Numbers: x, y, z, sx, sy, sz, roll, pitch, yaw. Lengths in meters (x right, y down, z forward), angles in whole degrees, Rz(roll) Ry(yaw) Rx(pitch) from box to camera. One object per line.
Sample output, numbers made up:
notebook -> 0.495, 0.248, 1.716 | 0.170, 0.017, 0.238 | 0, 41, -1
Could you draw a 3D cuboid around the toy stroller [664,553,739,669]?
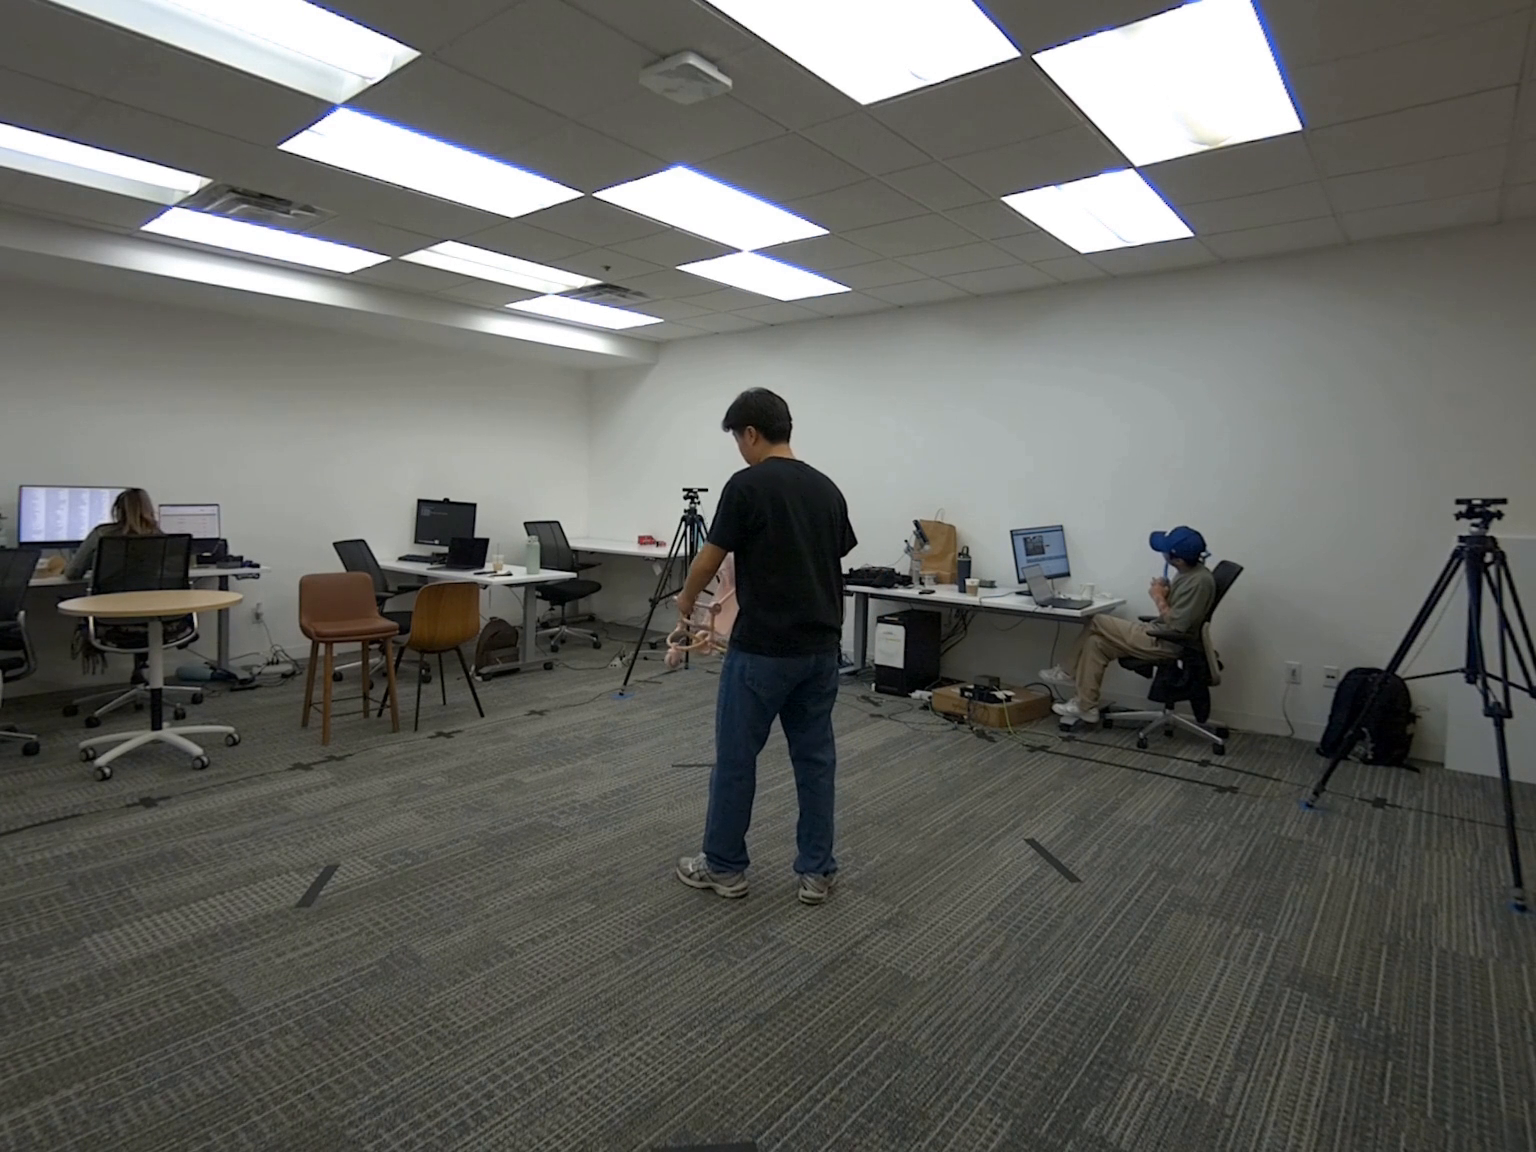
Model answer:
toy stroller -> -0.226, 0.119, 3.290 | 0.329, 0.536, 0.291 | 16, -3, -37
